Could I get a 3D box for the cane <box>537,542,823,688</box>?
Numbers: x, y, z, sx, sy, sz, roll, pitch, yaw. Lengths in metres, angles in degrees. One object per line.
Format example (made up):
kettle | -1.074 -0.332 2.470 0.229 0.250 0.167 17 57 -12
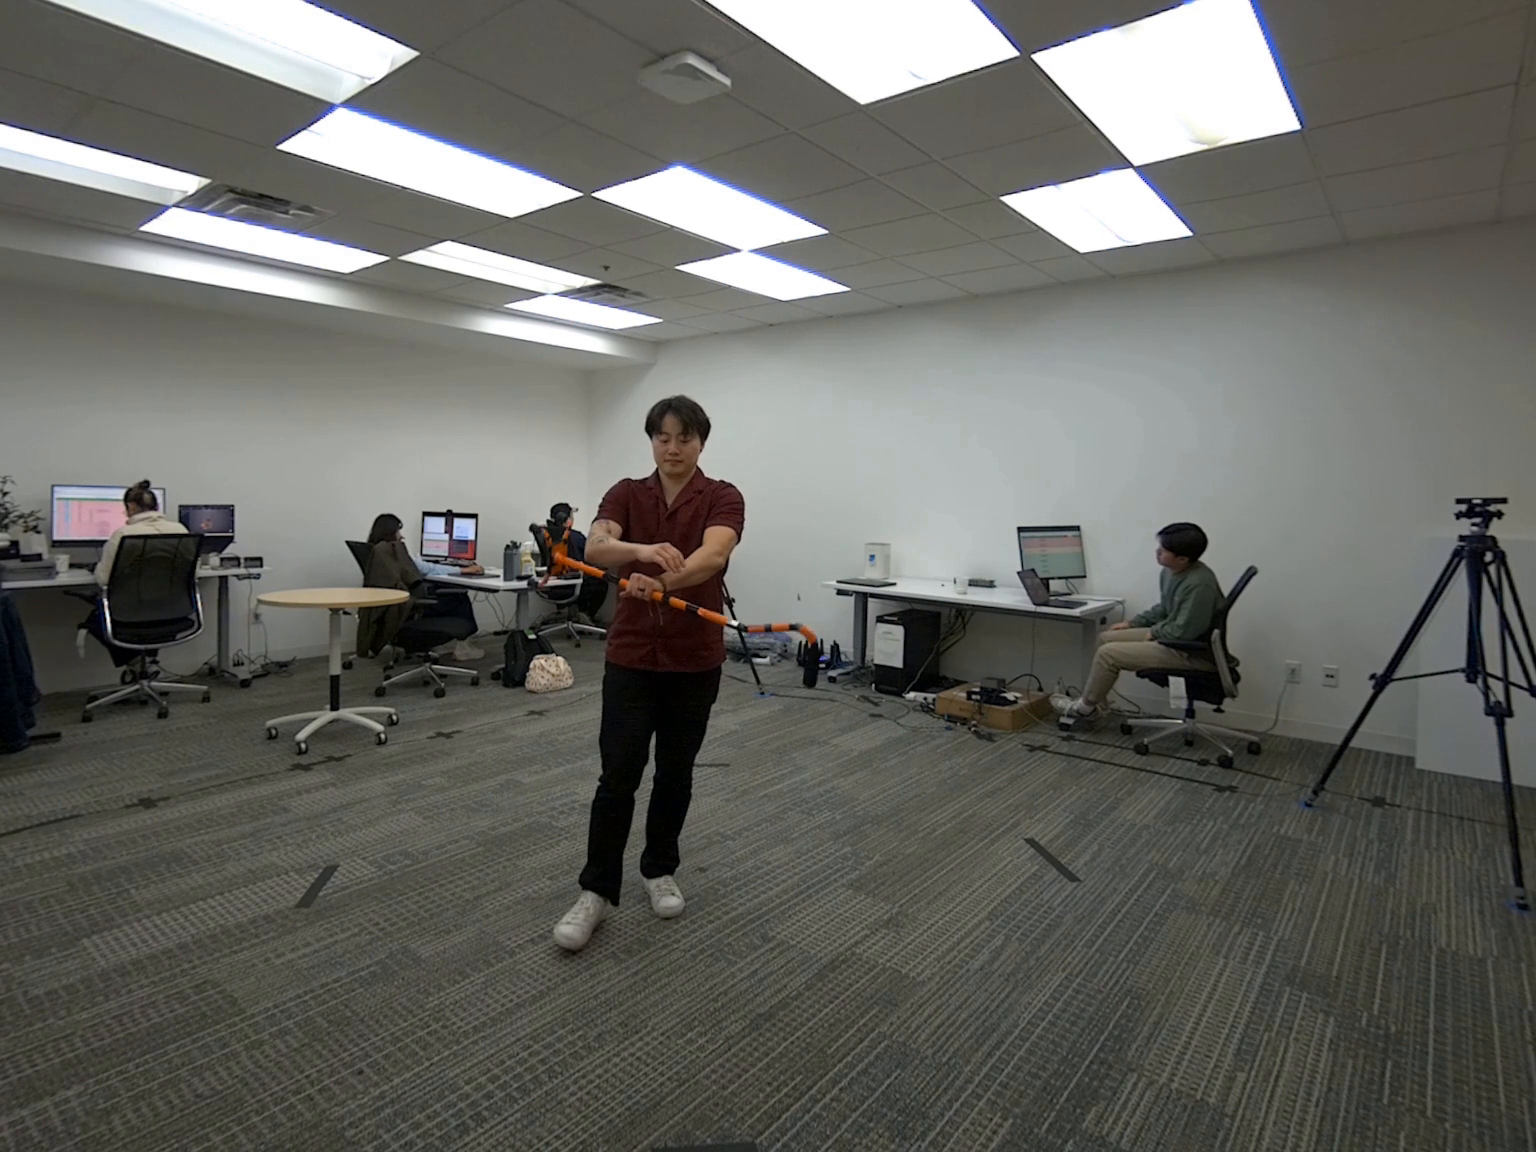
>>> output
cane | -0.276 0.063 2.340 0.934 0.203 0.150 19 26 23
